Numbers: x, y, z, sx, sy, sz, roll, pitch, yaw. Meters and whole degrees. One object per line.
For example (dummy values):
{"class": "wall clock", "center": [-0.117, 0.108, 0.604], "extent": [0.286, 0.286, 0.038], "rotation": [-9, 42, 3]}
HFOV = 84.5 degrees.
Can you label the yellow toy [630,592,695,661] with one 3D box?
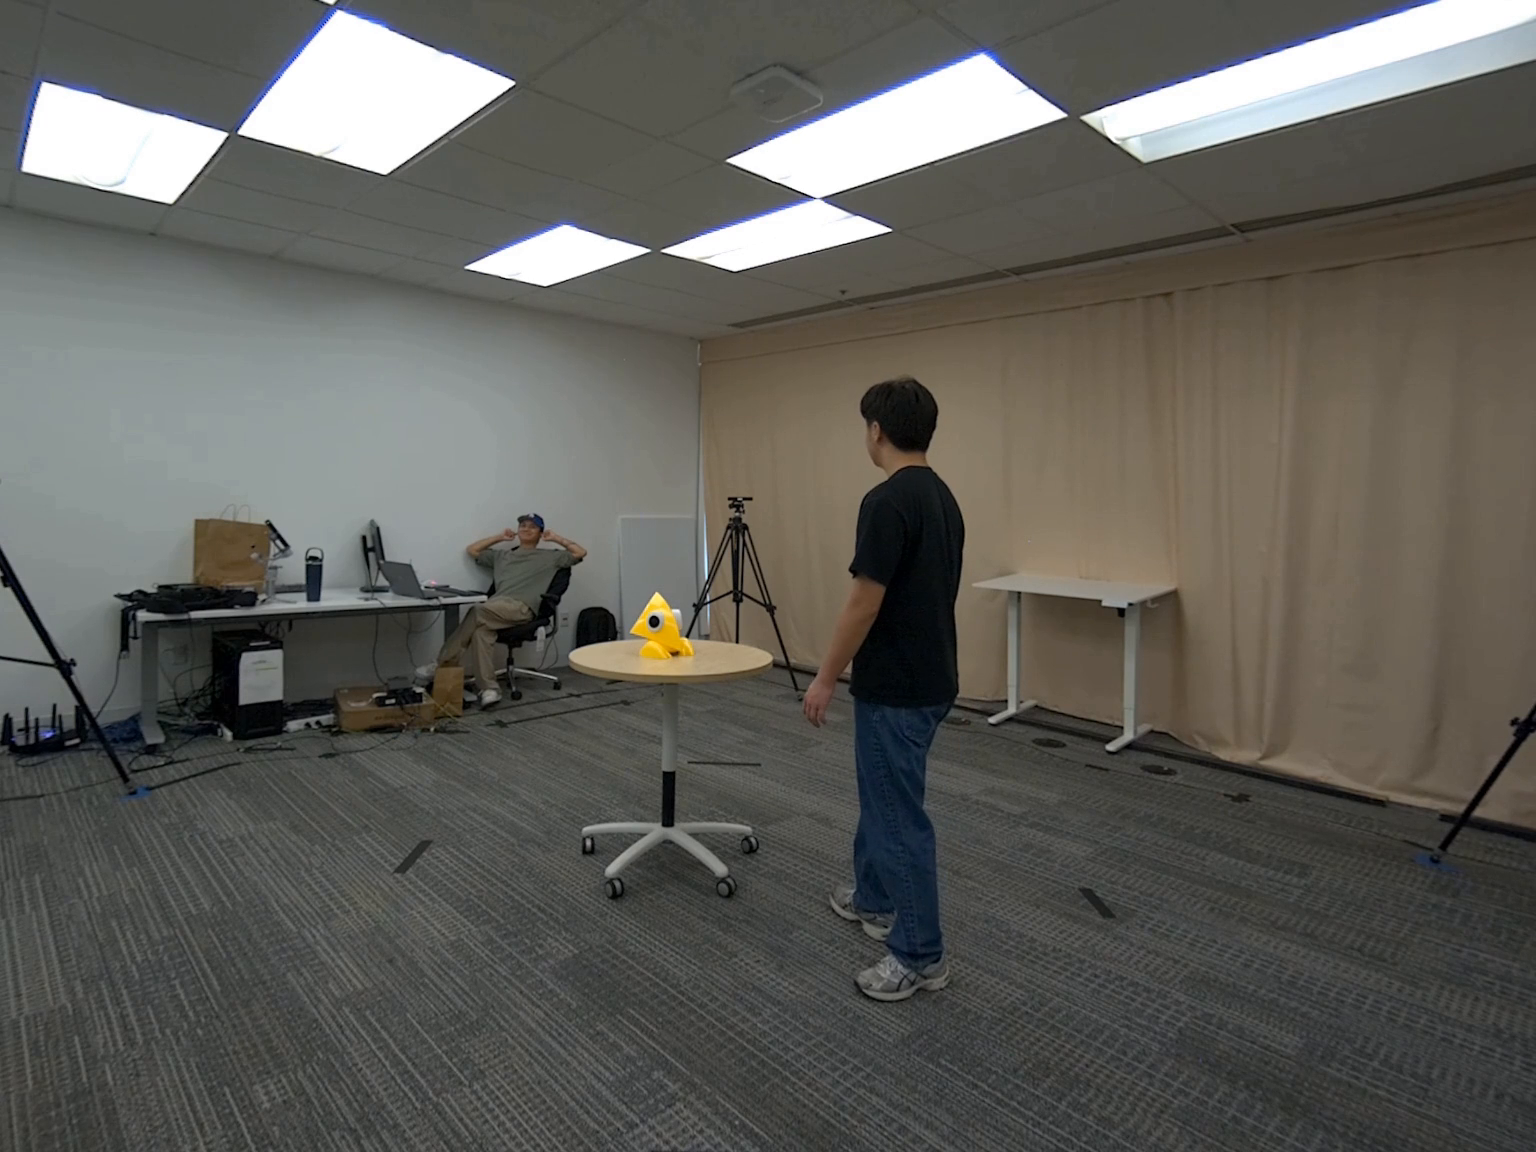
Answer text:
{"class": "yellow toy", "center": [-0.401, 0.183, 3.203], "extent": [0.200, 0.230, 0.198], "rotation": [-2, 5, -44]}
